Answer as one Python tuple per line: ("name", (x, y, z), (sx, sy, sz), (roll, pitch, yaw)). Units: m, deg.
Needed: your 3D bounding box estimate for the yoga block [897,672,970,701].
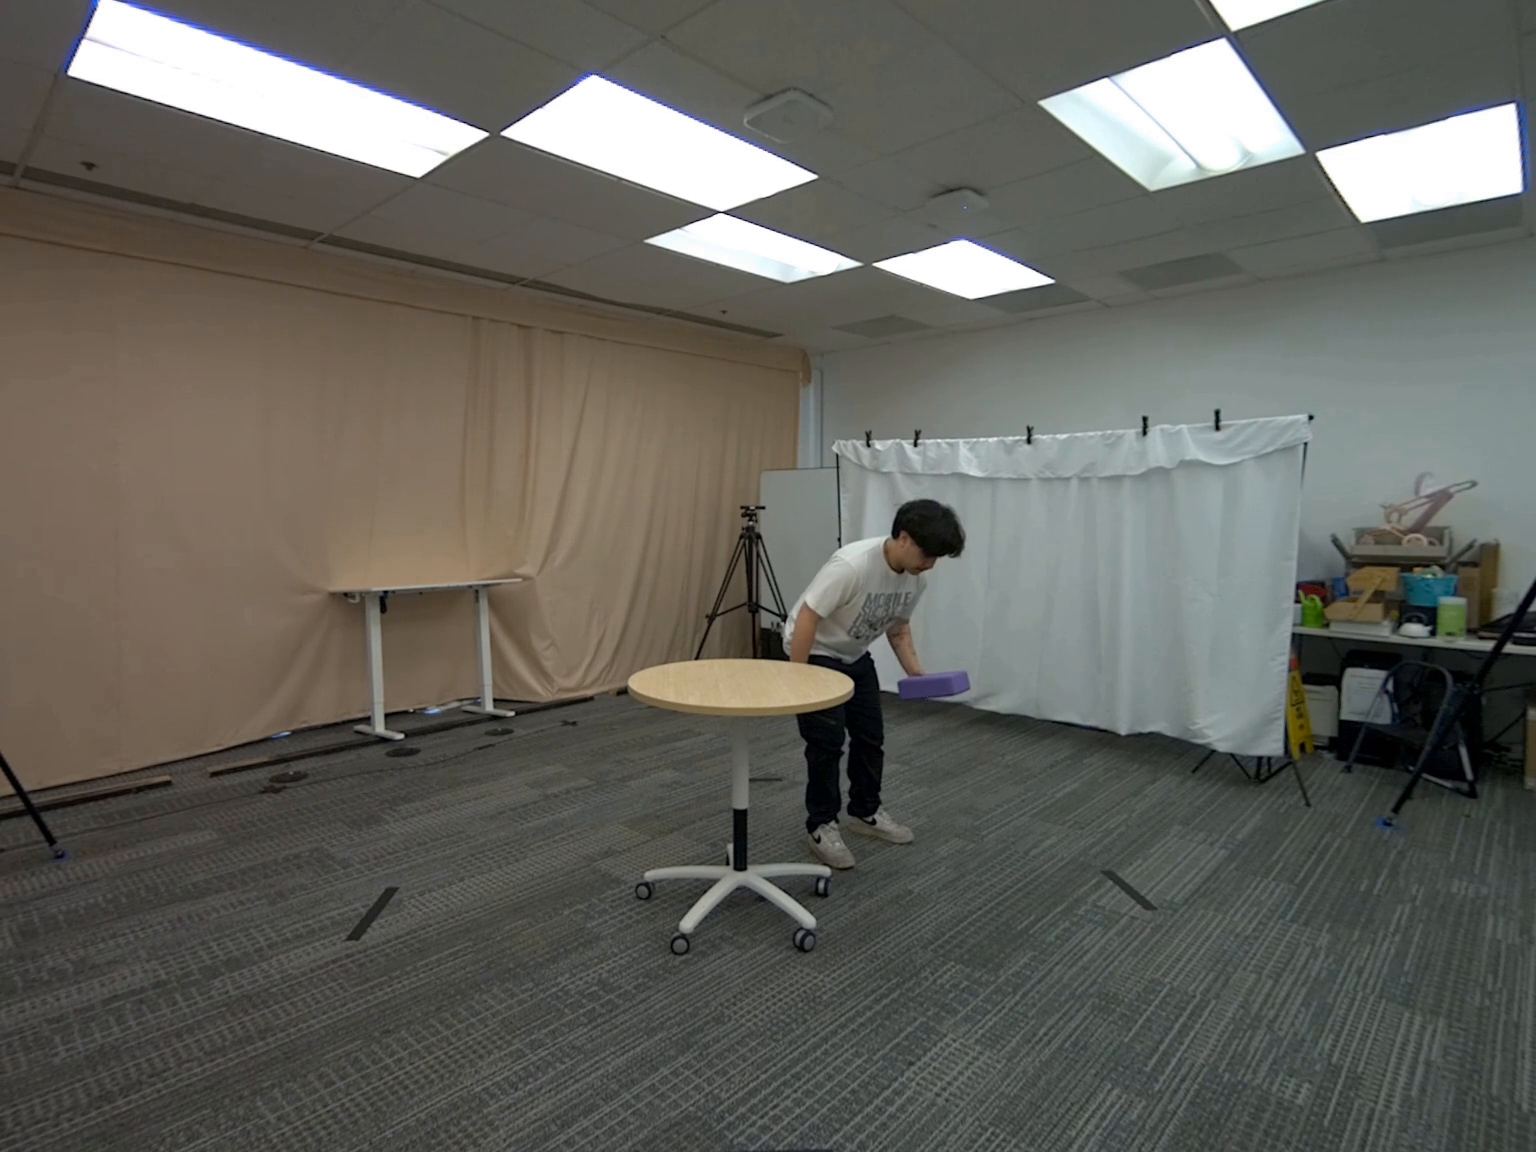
("yoga block", (0.633, 0.418, 3.200), (0.236, 0.076, 0.144), (-9, -3, 39))
